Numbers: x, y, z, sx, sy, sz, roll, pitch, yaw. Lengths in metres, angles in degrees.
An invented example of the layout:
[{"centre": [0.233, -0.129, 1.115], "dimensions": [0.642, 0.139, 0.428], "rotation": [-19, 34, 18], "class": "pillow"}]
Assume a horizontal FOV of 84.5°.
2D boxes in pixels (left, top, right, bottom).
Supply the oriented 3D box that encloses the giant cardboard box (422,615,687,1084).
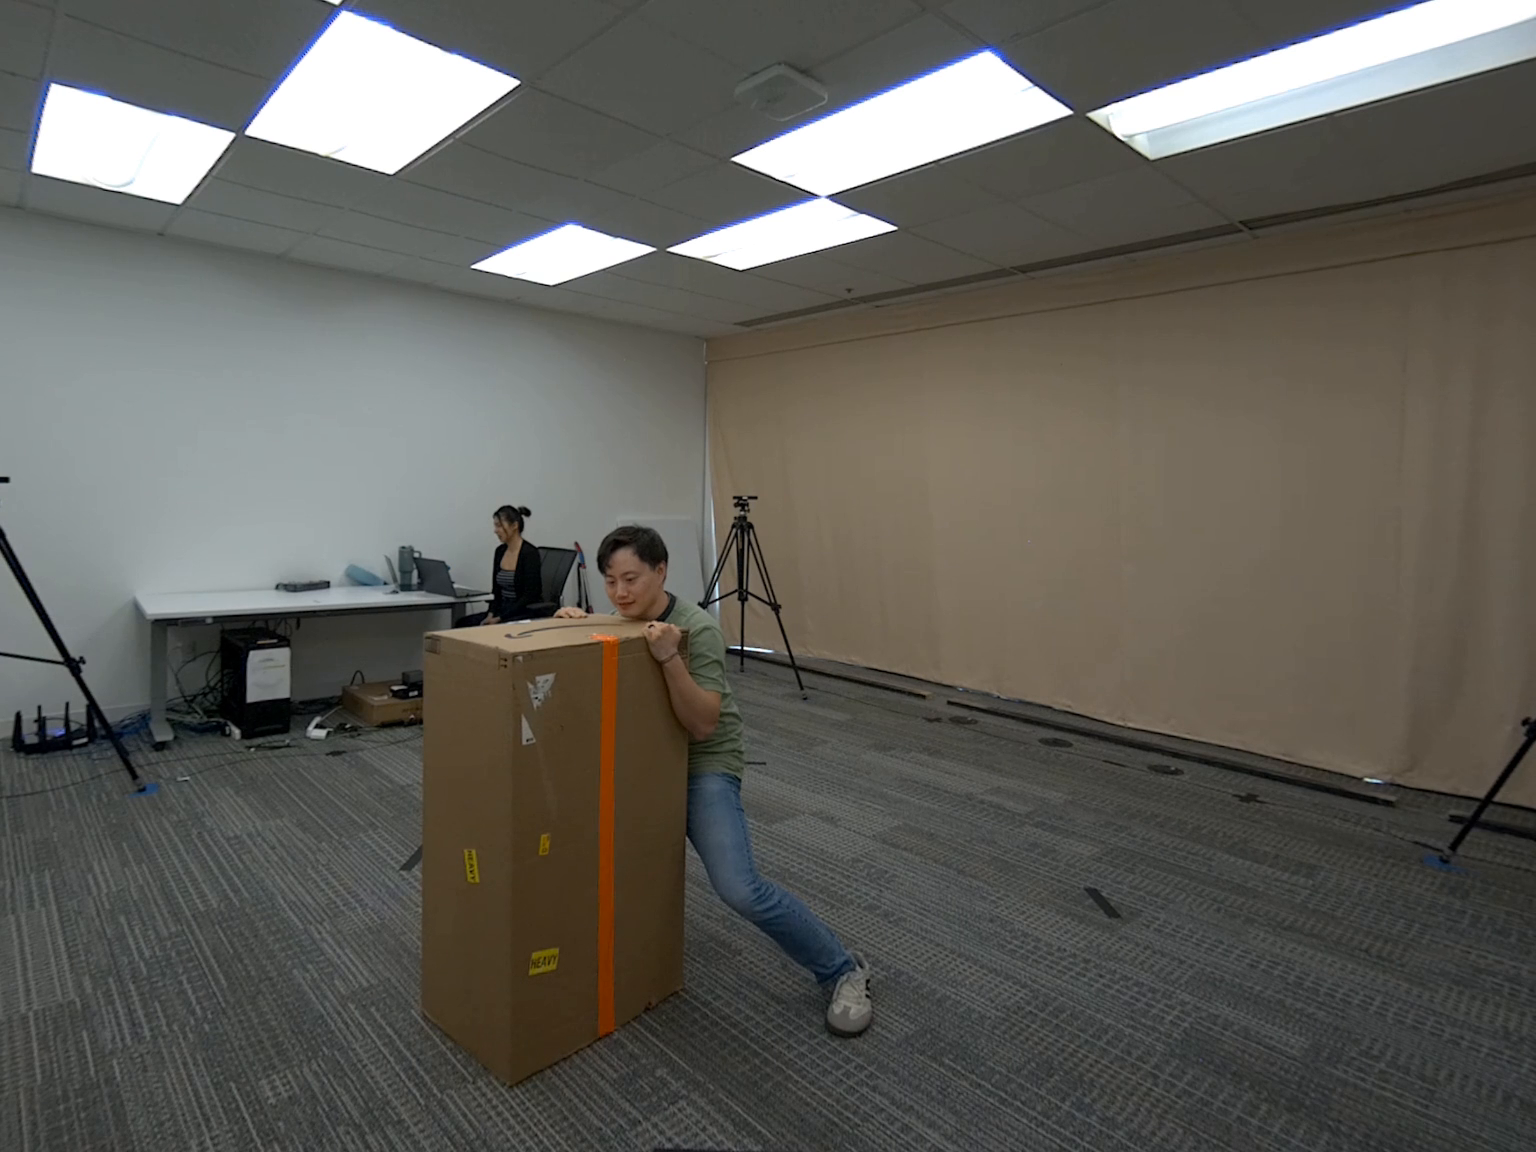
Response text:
[{"centre": [-0.577, 0.667, 2.279], "dimensions": [0.437, 1.023, 0.565], "rotation": [3, 5, 41], "class": "giant cardboard box"}]
